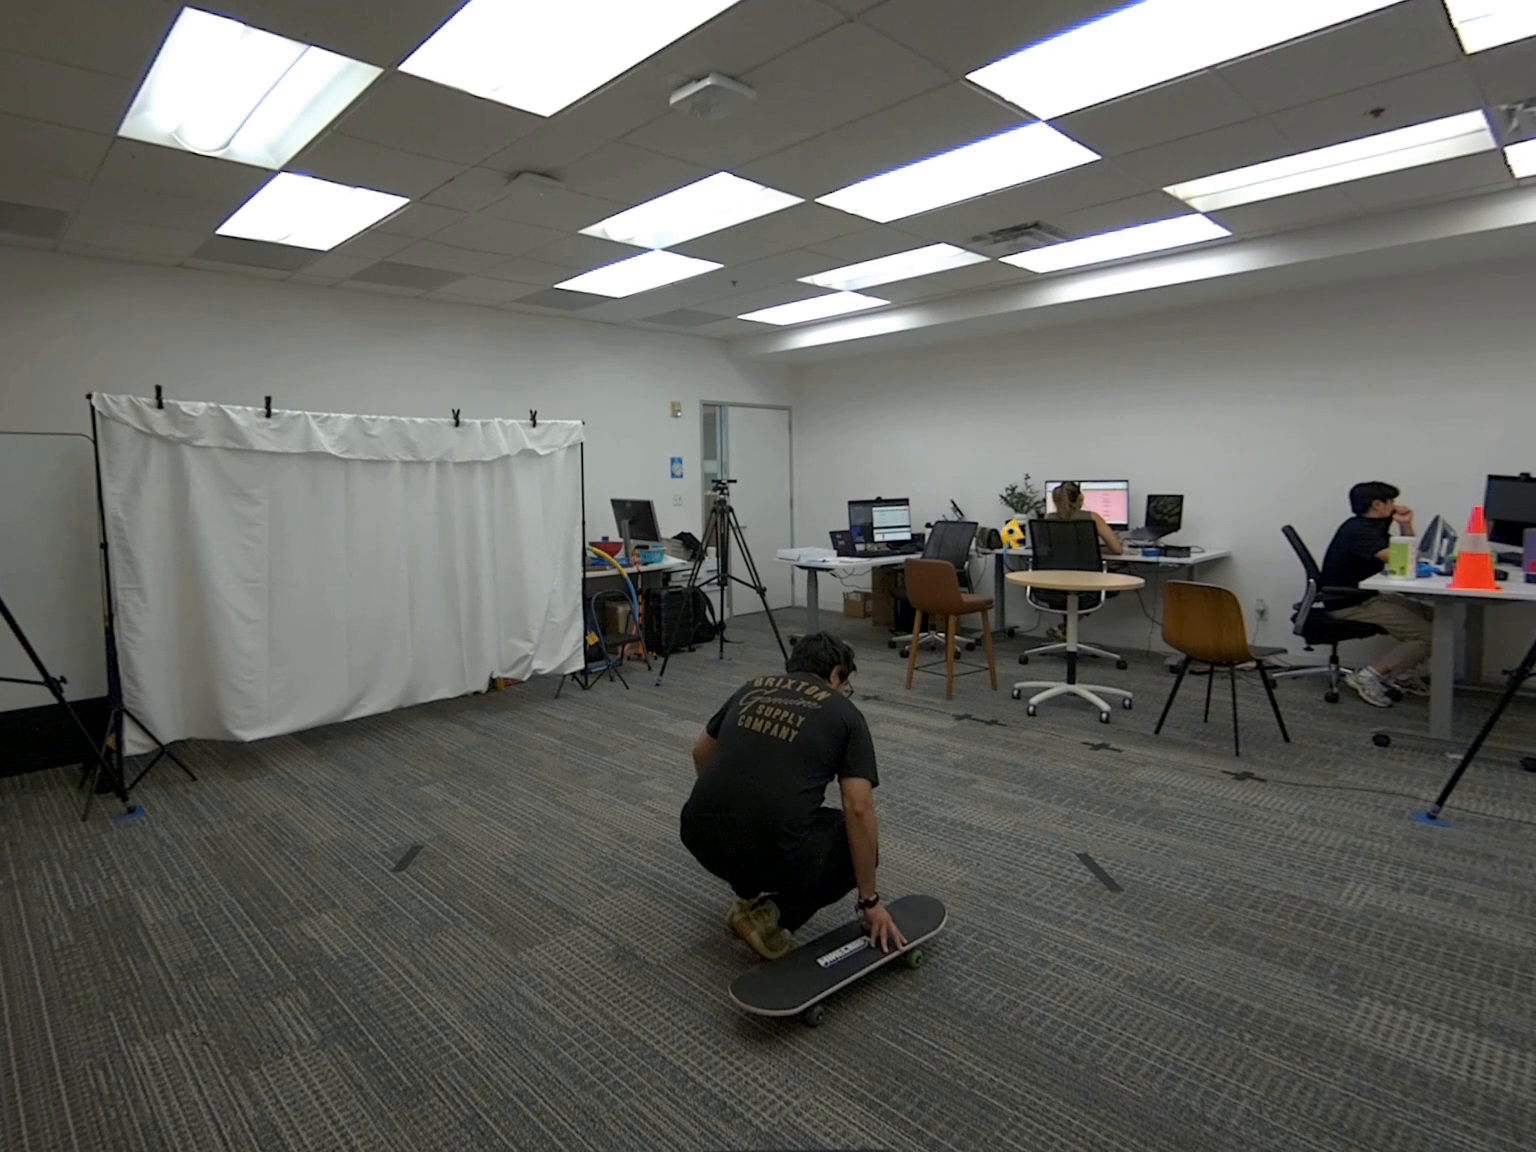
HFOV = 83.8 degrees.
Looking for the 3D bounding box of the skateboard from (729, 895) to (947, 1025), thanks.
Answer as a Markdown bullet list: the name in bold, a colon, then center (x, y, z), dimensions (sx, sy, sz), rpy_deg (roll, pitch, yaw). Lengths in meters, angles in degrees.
- **skateboard**: center (0.221, 1.071, 2.373), dimensions (0.765, 0.110, 0.199), rpy_deg (-7, 9, -39)
